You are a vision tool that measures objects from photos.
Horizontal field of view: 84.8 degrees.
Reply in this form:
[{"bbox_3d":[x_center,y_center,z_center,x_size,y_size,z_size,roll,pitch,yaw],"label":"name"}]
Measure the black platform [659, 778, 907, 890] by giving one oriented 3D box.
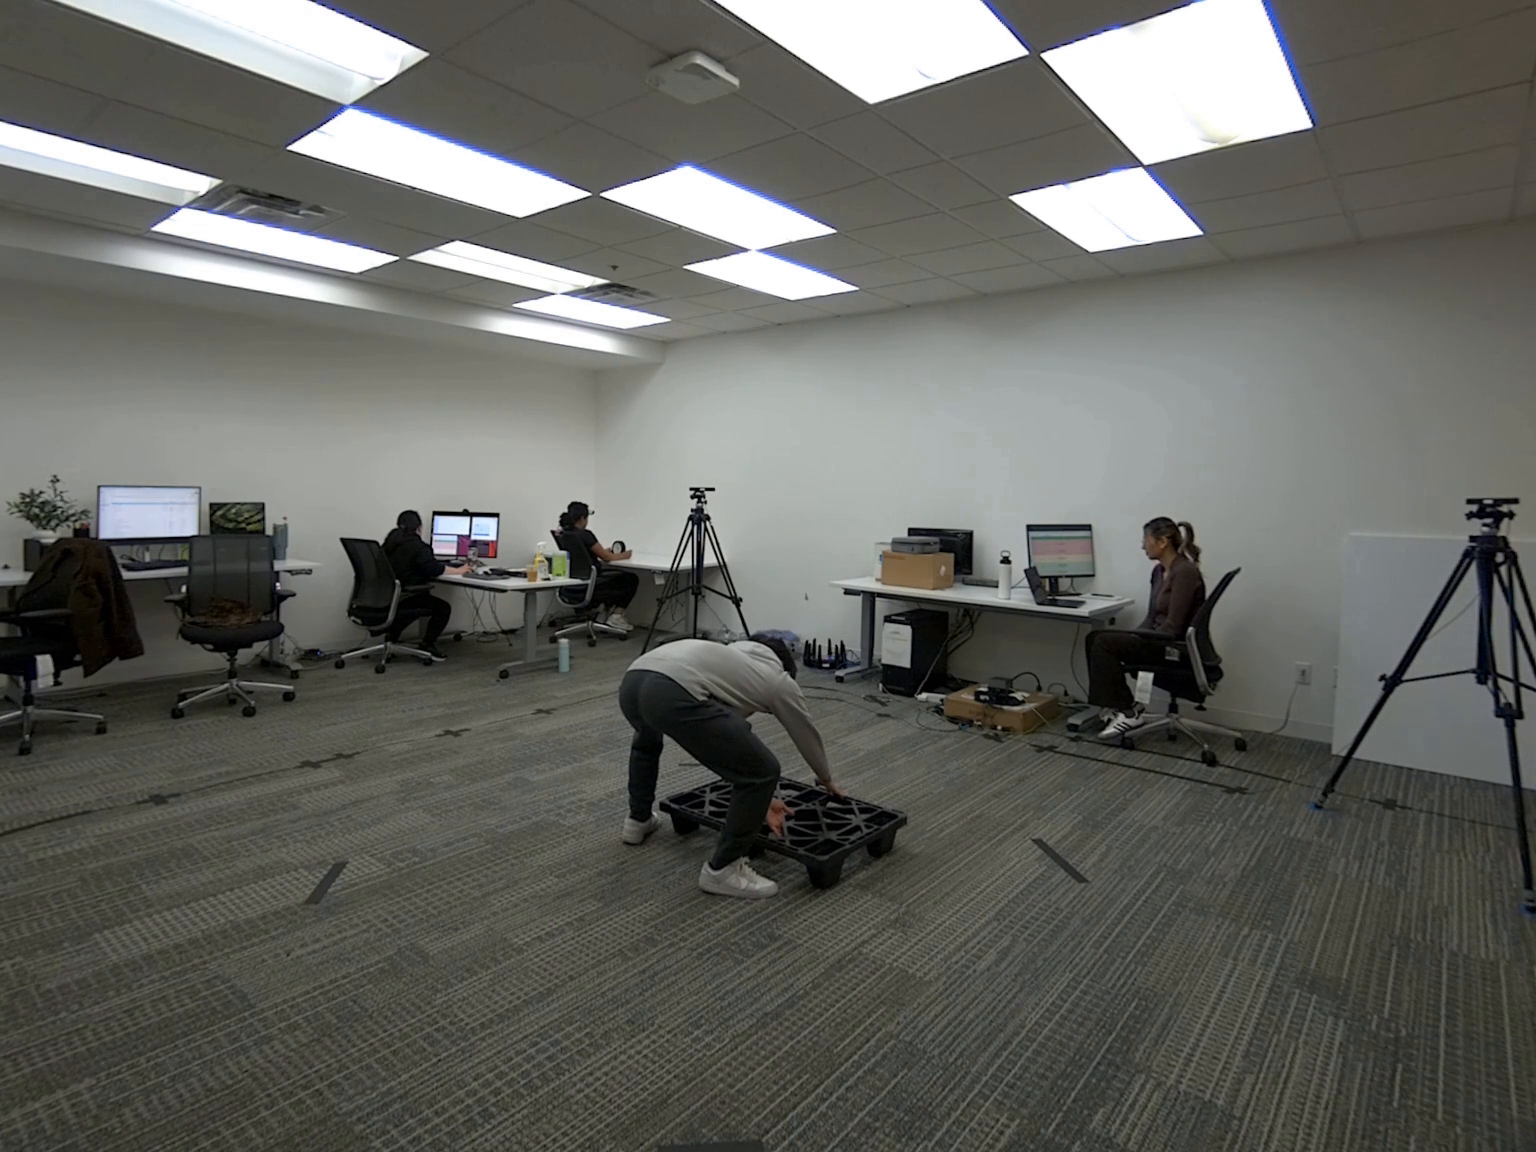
[{"bbox_3d":[0.049,0.981,3.364,0.833,0.143,0.587,6,7,40],"label":"black platform"}]
